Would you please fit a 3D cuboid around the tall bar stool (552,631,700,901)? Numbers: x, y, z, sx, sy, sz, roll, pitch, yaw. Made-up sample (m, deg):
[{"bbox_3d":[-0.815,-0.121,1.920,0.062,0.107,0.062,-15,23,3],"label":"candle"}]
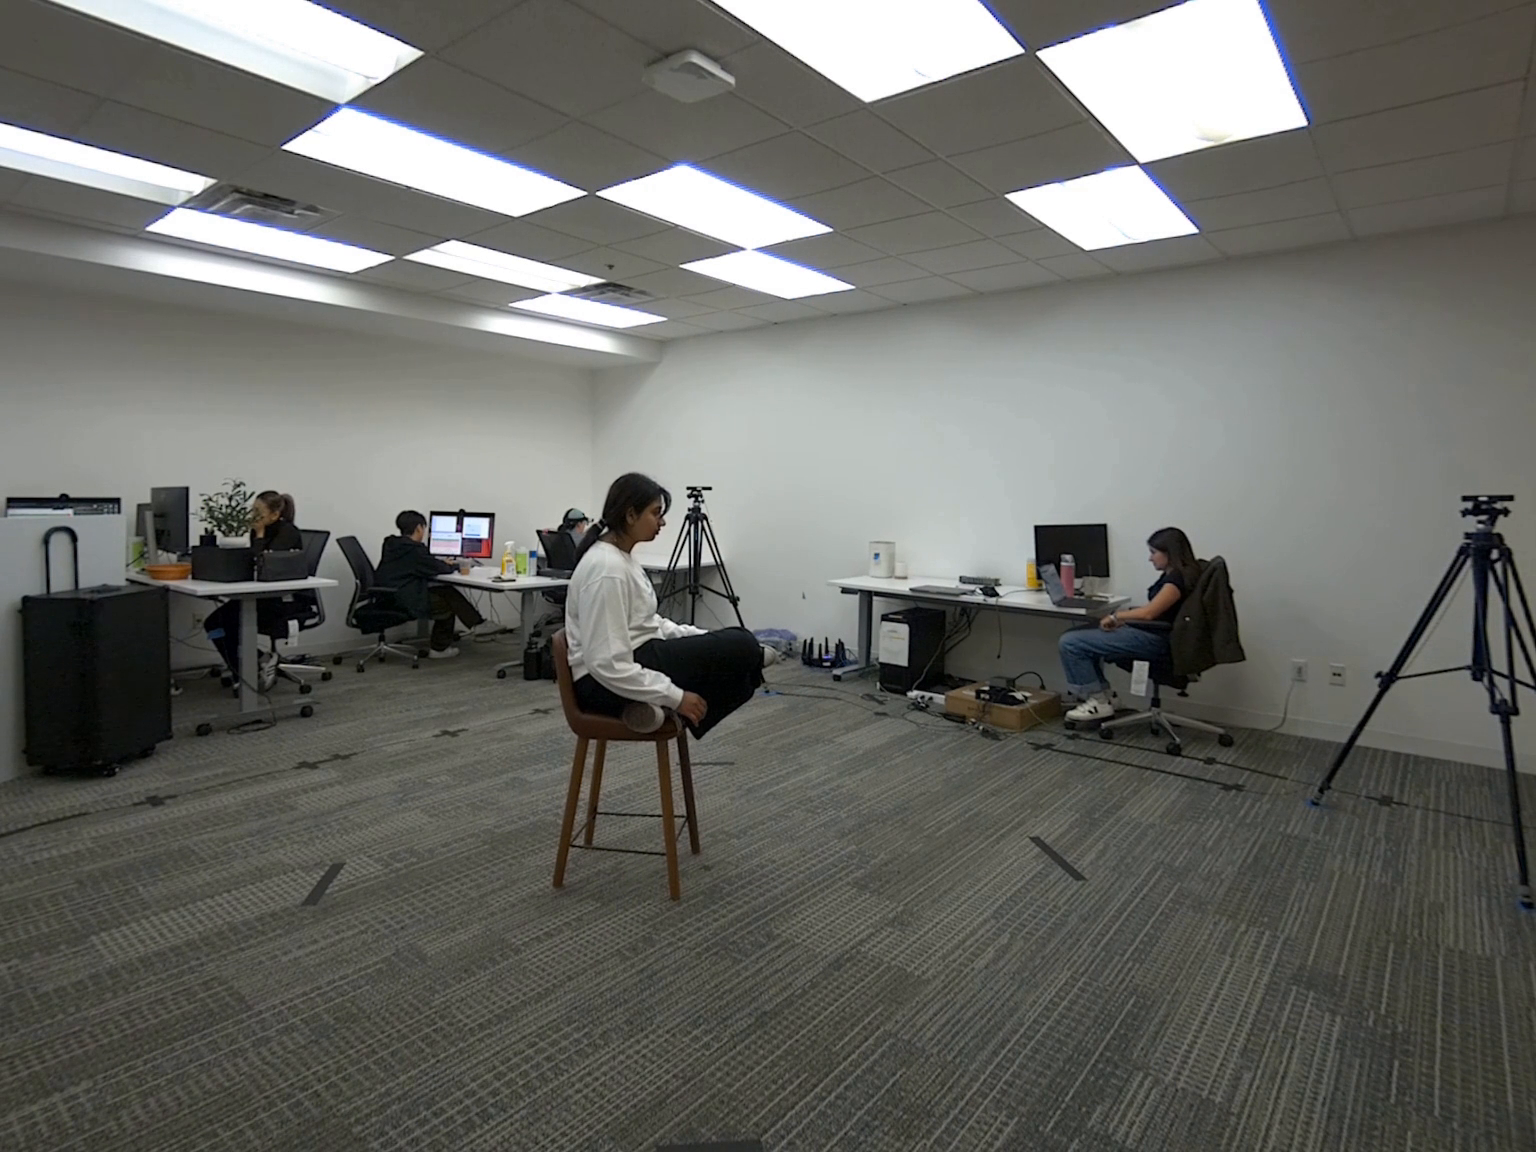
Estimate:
[{"bbox_3d":[-0.509,0.635,3.074,0.472,0.887,0.453,-1,3,9],"label":"tall bar stool"}]
